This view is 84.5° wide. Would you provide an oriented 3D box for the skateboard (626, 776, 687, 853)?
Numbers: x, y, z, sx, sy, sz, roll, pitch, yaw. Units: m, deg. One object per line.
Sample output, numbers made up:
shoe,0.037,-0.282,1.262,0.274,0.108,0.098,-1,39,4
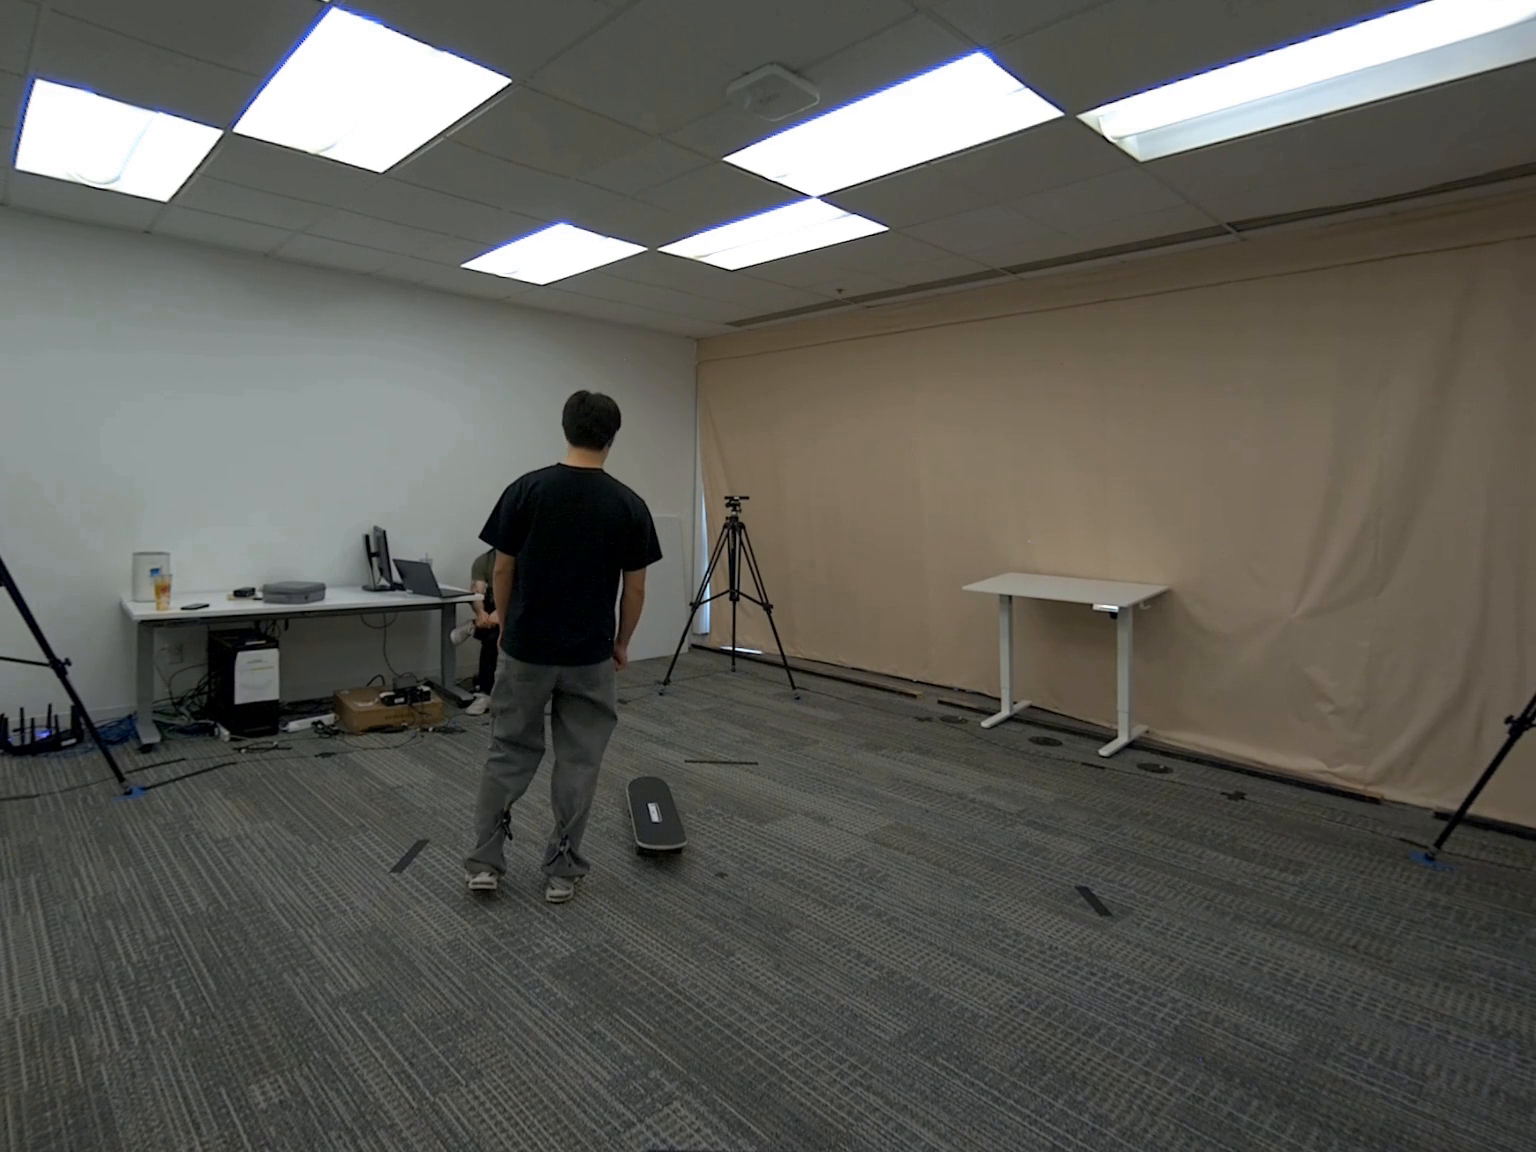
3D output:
skateboard,-0.483,1.009,3.475,0.192,0.110,0.795,0,6,-12
